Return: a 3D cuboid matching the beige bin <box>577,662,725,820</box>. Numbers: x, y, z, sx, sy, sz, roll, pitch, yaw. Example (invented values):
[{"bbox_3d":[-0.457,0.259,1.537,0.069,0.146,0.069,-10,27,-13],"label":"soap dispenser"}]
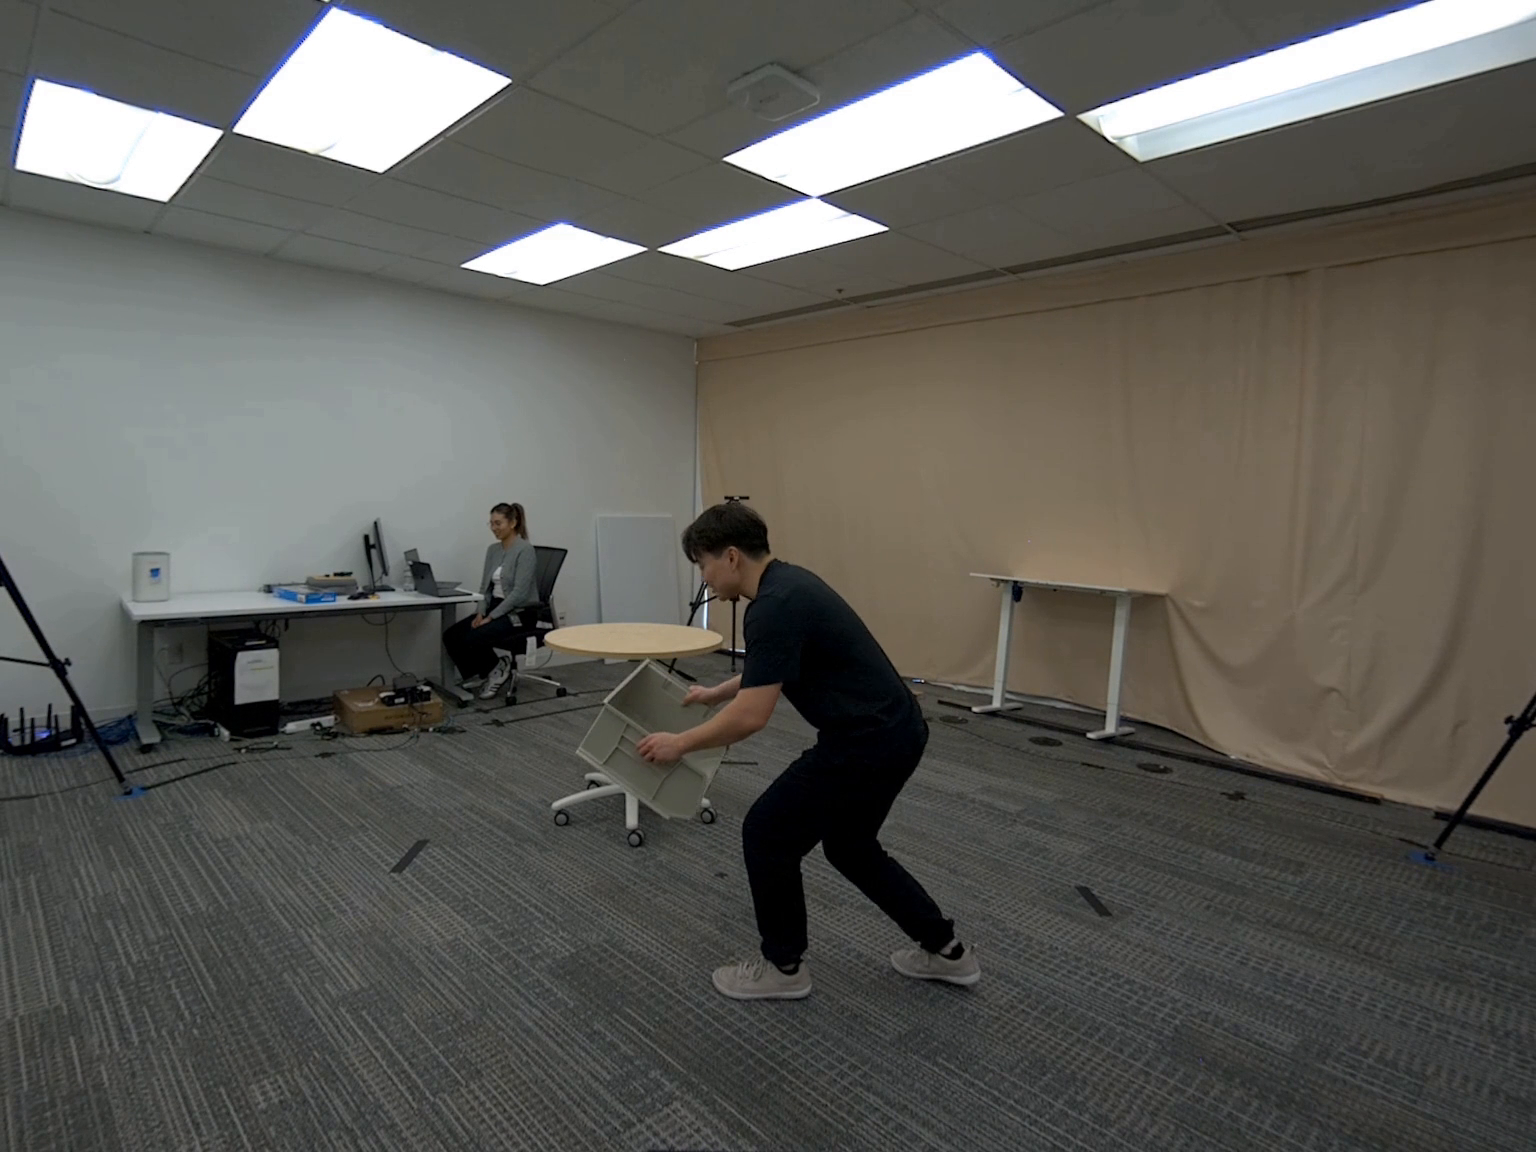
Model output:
[{"bbox_3d":[-0.311,0.485,2.479,0.379,0.188,0.421,33,13,3],"label":"beige bin"}]
